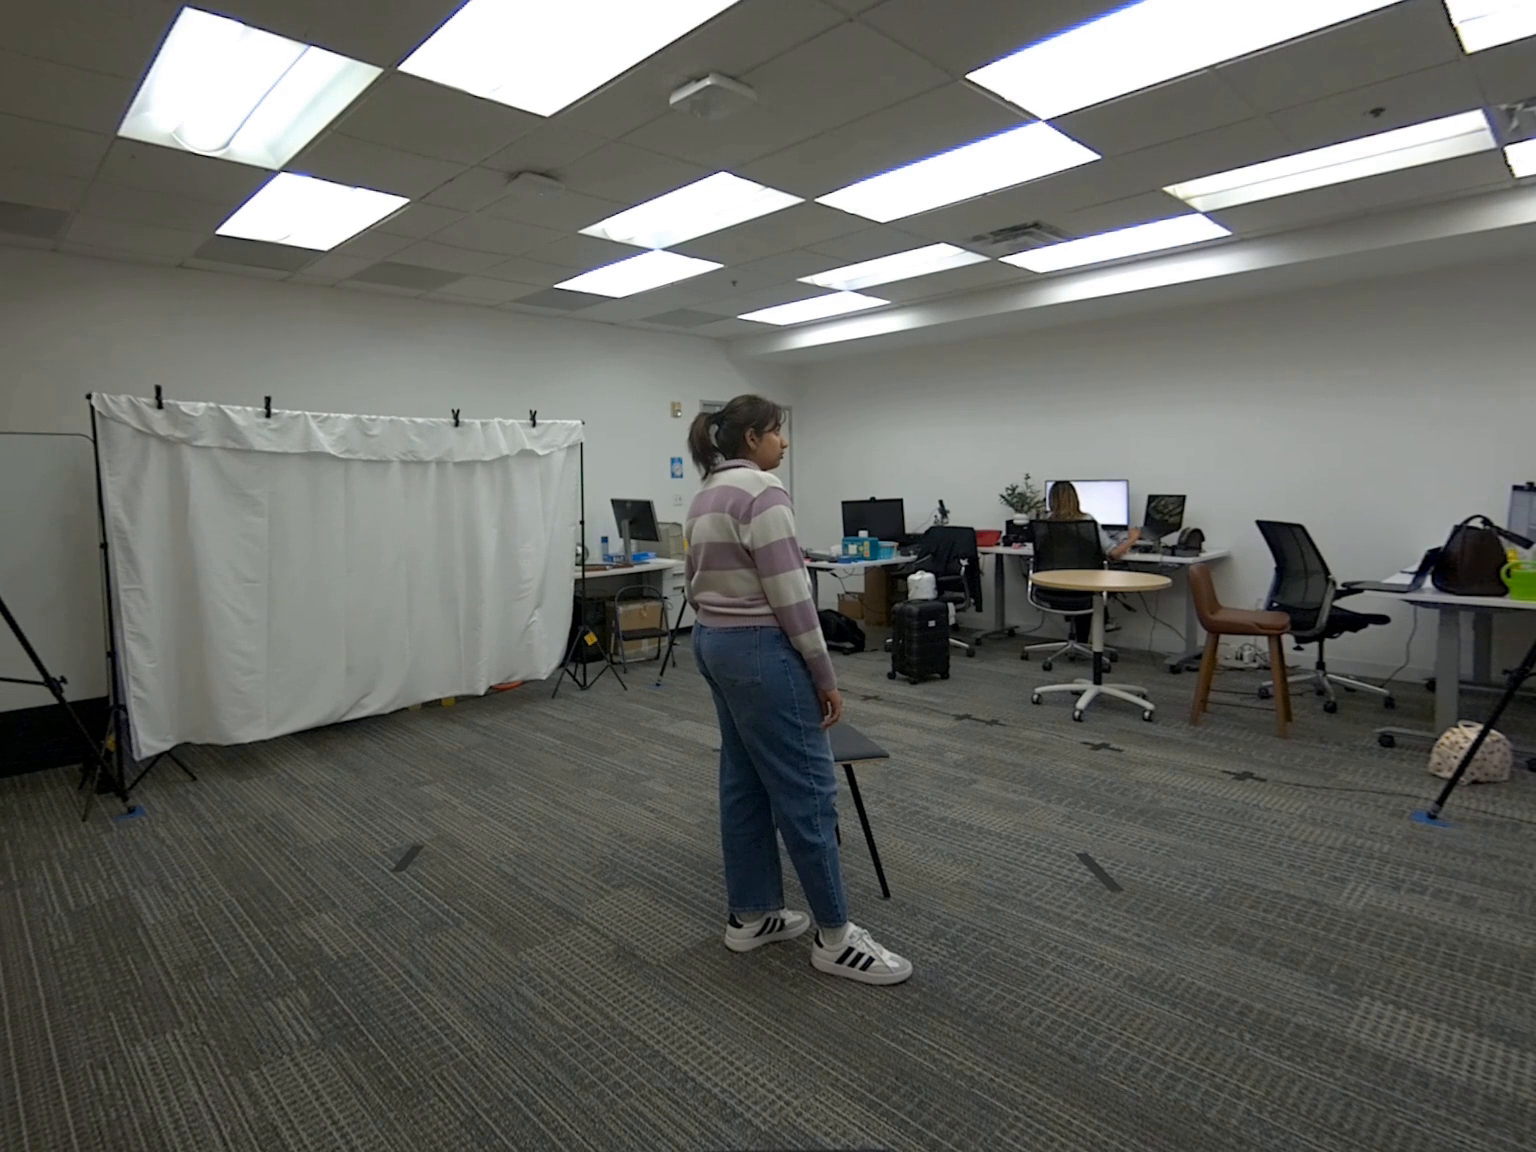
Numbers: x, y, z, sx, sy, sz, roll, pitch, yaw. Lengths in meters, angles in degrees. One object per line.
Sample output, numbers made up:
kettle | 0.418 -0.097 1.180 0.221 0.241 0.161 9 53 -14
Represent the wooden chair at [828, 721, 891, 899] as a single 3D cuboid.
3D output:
wooden chair | 0.129 0.630 2.979 0.516 0.873 0.486 -6 5 -15
